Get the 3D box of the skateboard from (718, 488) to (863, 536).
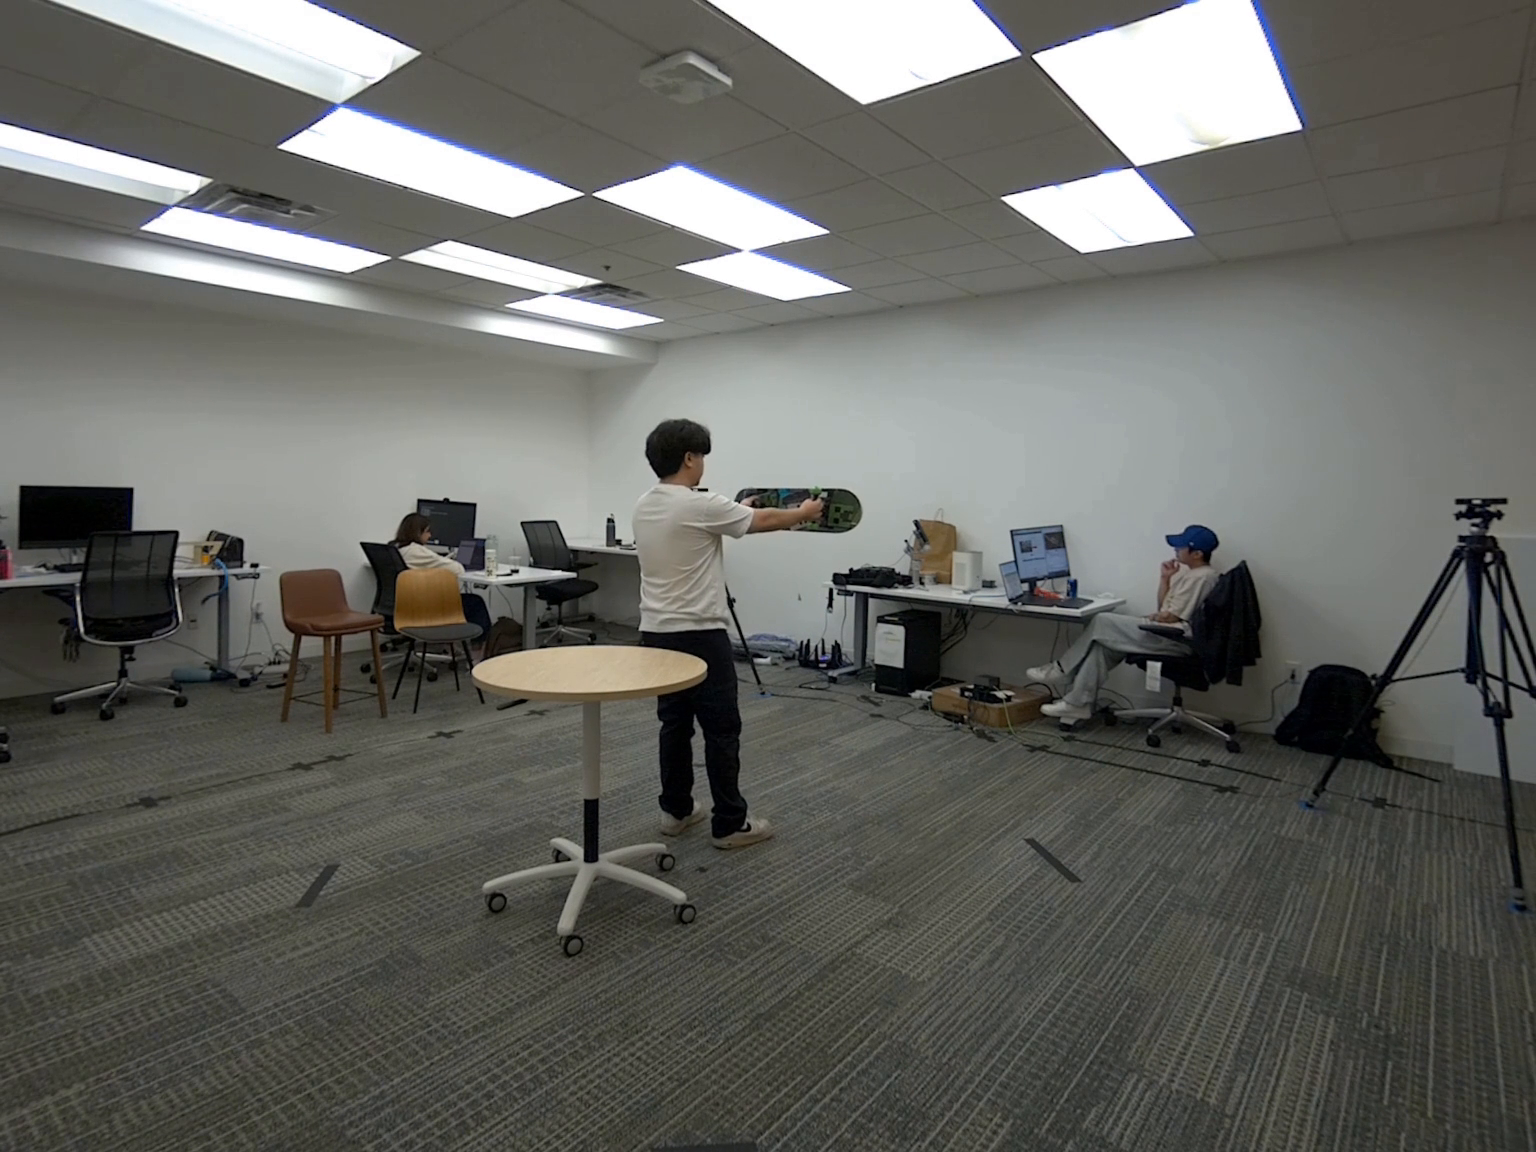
[{"bbox_3d":[0.075,-0.298,3.807,0.107,0.193,0.812,0,4,-44],"label":"skateboard"}]
